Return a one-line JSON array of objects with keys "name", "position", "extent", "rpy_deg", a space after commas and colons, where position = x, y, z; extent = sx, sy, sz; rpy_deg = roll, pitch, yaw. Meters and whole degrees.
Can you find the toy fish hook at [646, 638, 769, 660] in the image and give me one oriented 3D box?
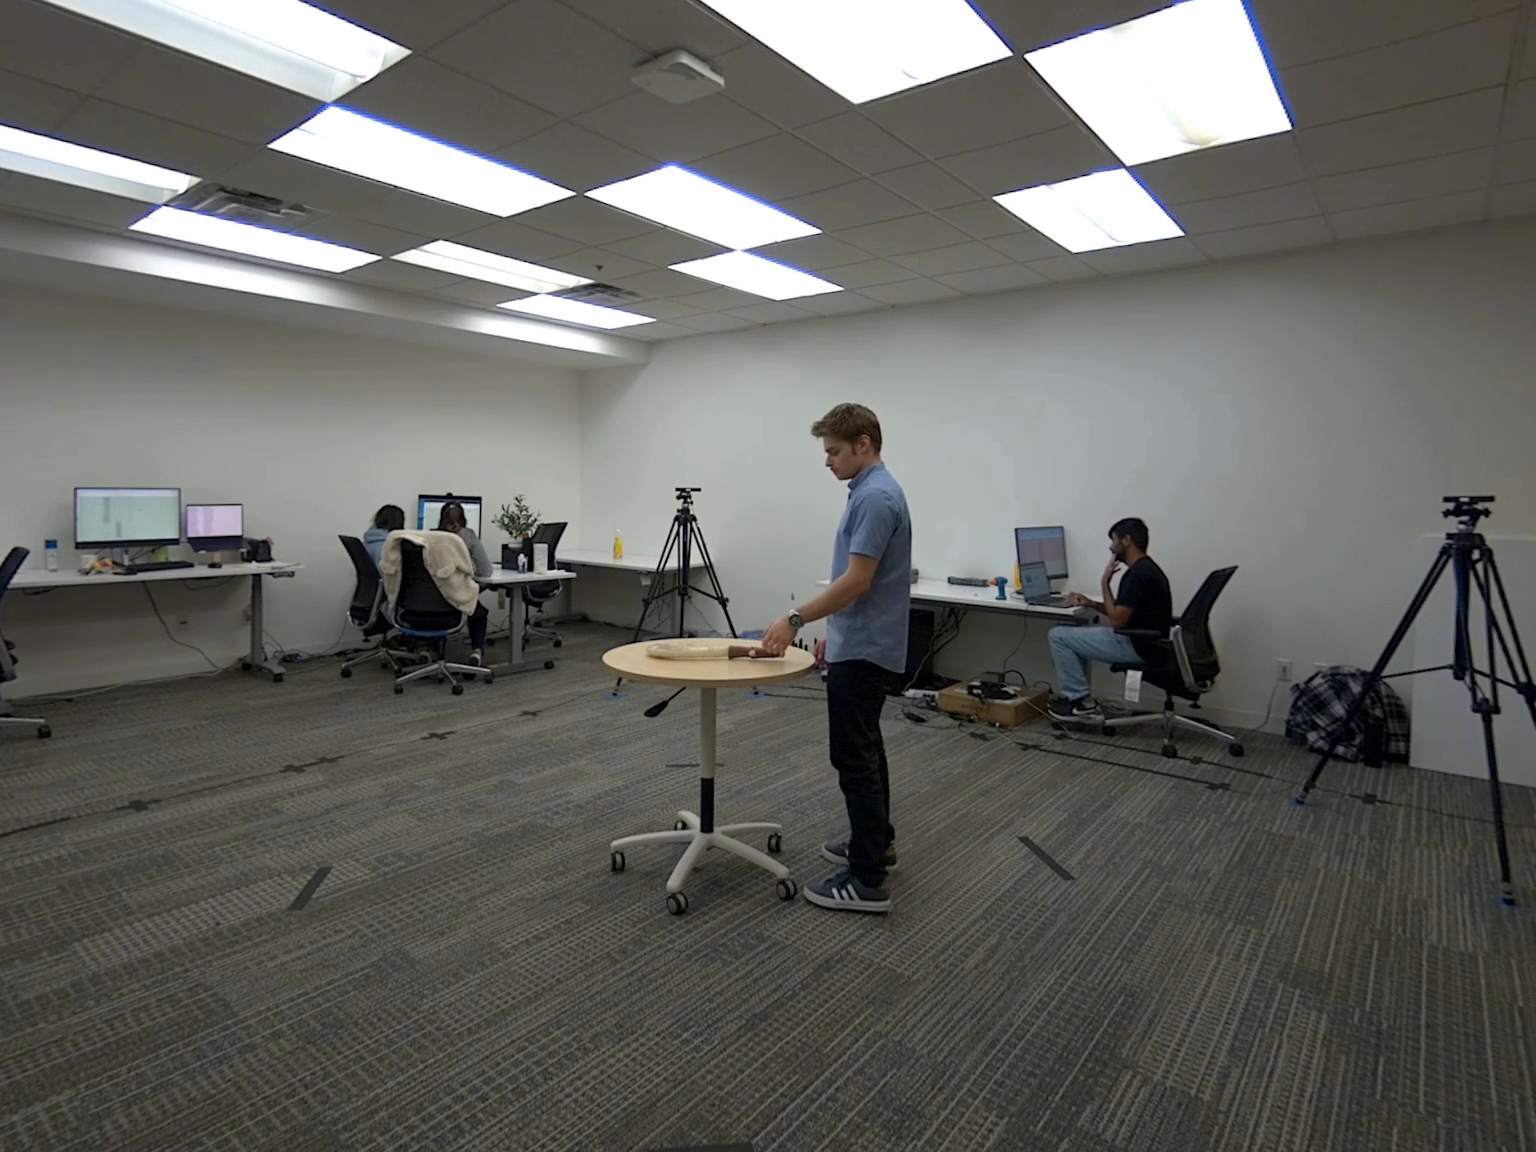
[{"name": "toy fish hook", "position": [-0.196, 0.262, 3.084], "extent": [0.510, 0.048, 0.225], "rpy_deg": [1, 10, 6]}]
